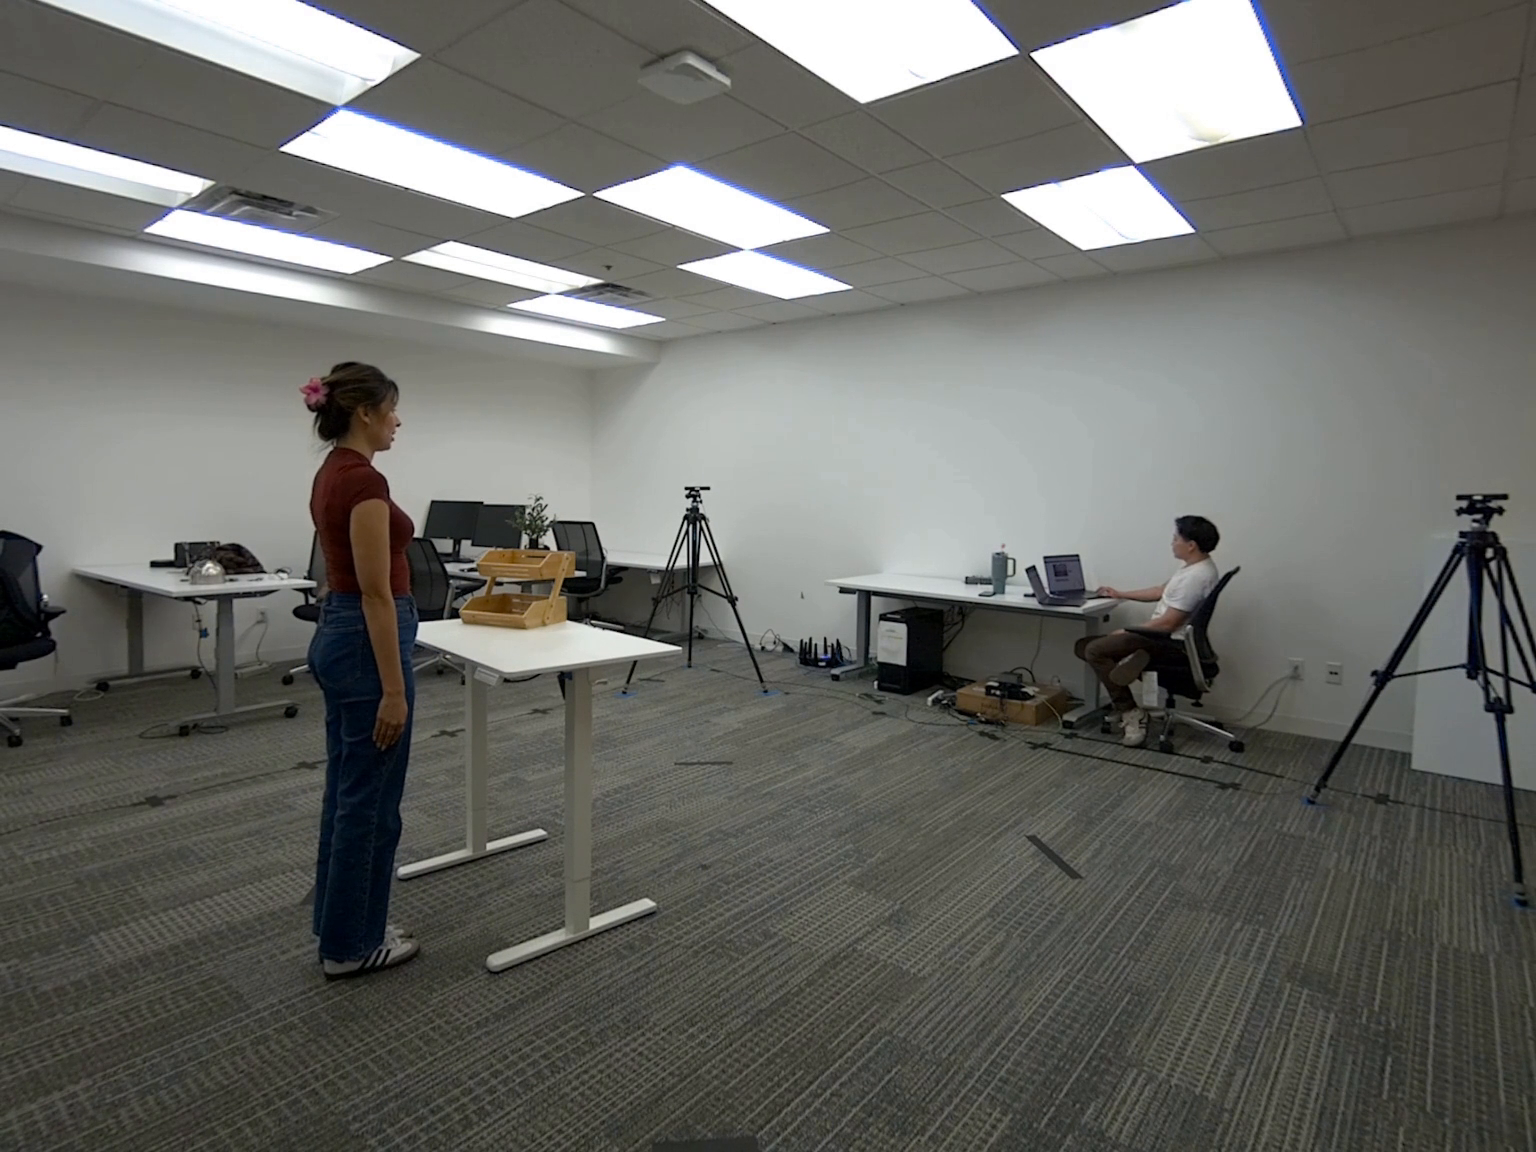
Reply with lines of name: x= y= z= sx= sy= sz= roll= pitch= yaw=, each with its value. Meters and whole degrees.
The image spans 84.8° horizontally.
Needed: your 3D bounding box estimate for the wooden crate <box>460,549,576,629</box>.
wooden crate: x=-0.956 y=0.038 z=3.179 sx=0.333 sy=0.272 sz=0.295 roll=2 pitch=4 yaw=25
